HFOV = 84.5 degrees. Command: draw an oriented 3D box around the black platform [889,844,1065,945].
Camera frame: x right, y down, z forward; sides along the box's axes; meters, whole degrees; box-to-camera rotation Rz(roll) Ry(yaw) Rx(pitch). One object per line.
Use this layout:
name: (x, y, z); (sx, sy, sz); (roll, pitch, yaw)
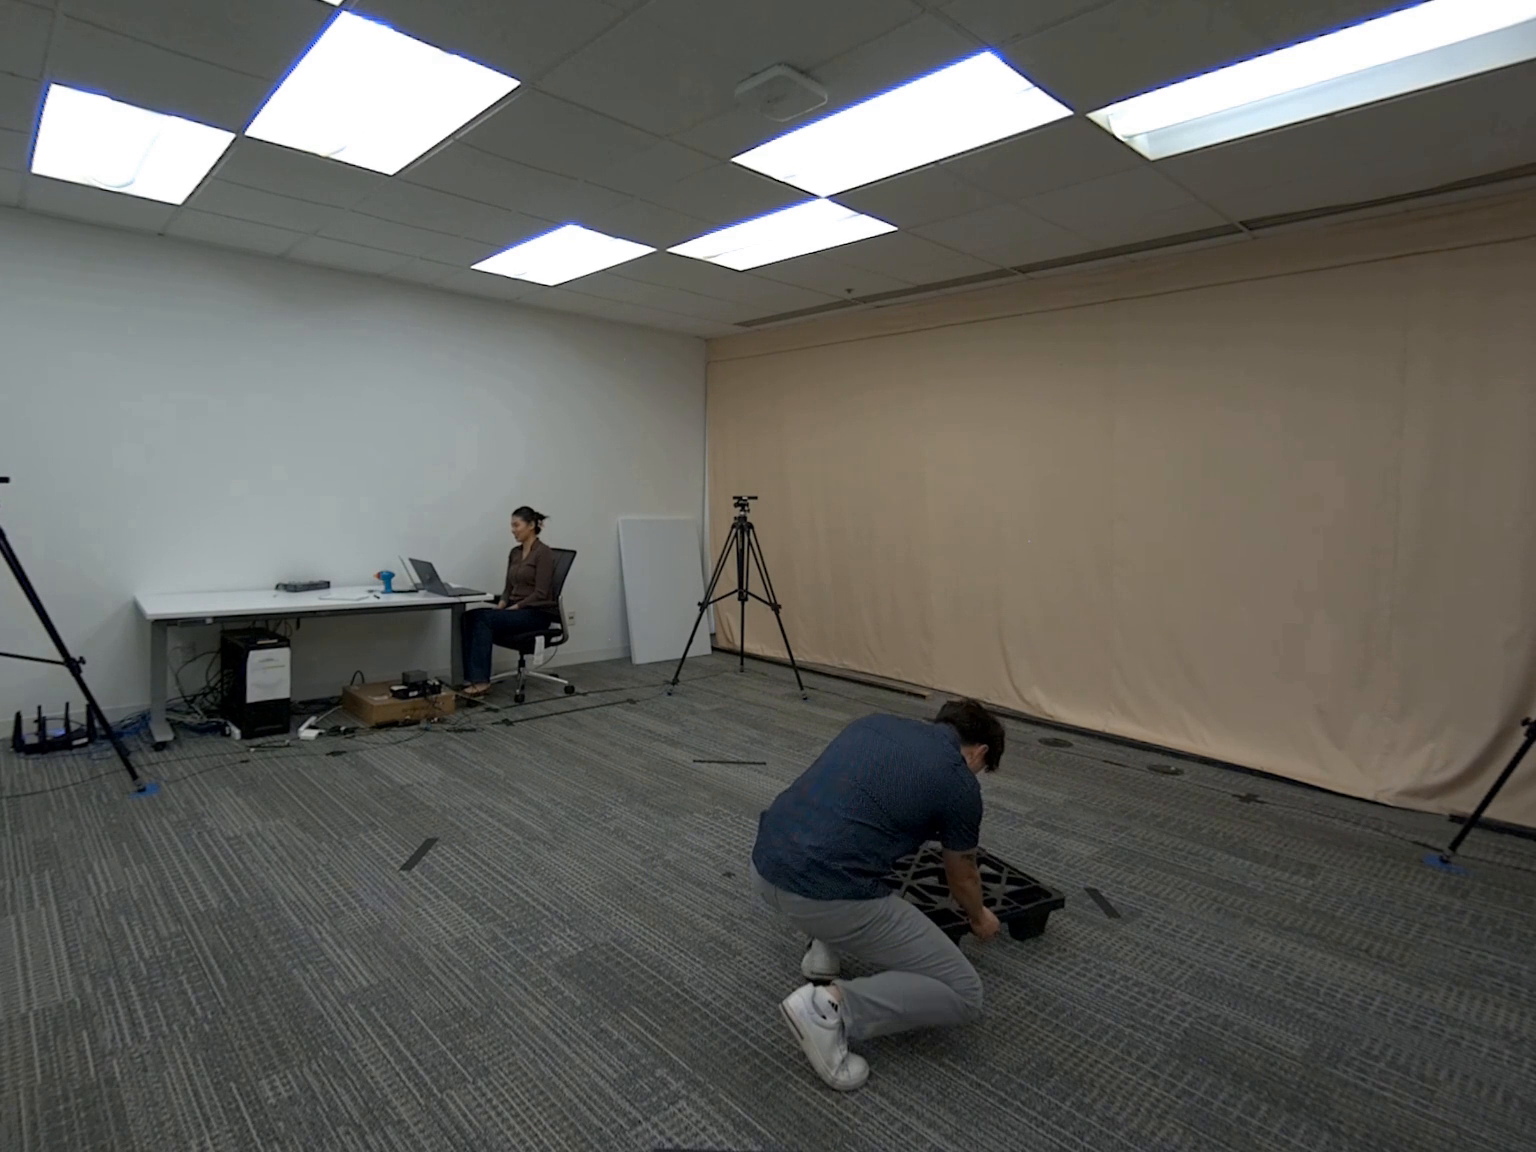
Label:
black platform: (0.510, 1.066, 2.952); (0.593, 0.143, 0.824); (0, 6, -27)
